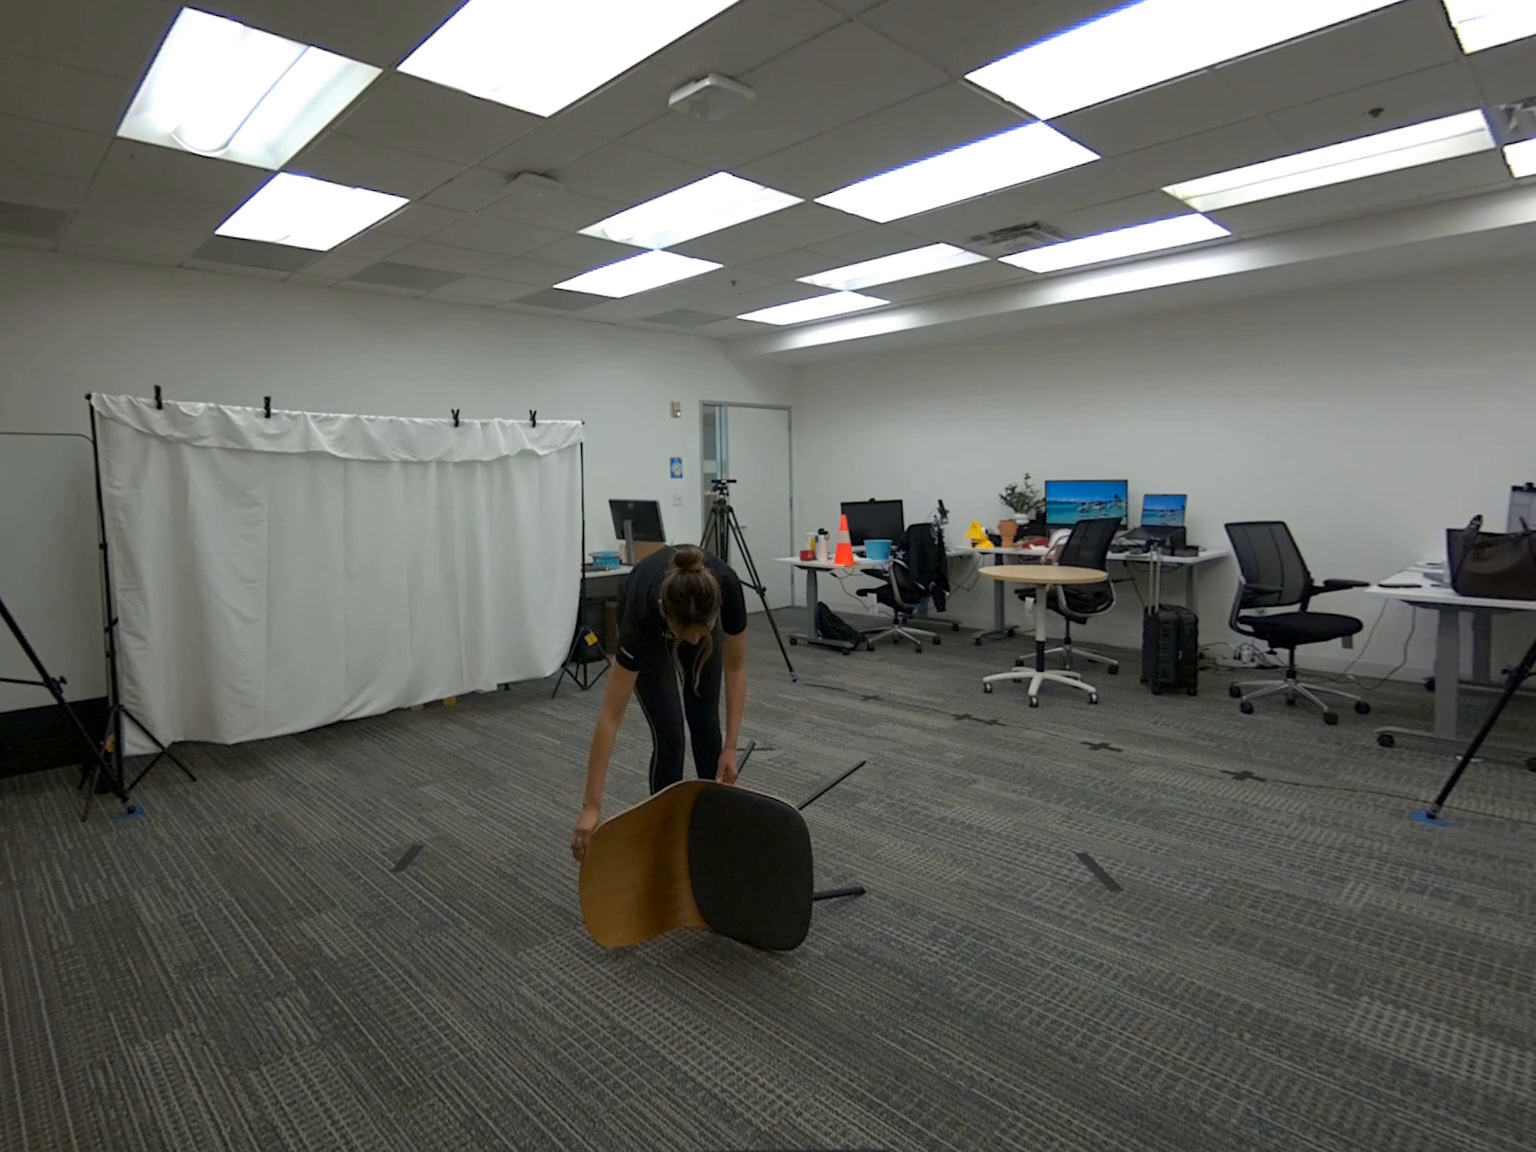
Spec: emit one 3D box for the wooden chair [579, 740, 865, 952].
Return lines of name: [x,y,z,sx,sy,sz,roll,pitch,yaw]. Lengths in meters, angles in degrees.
wooden chair: [-0.079,0.869,2.637,0.539,0.476,0.855,3,7,37]
